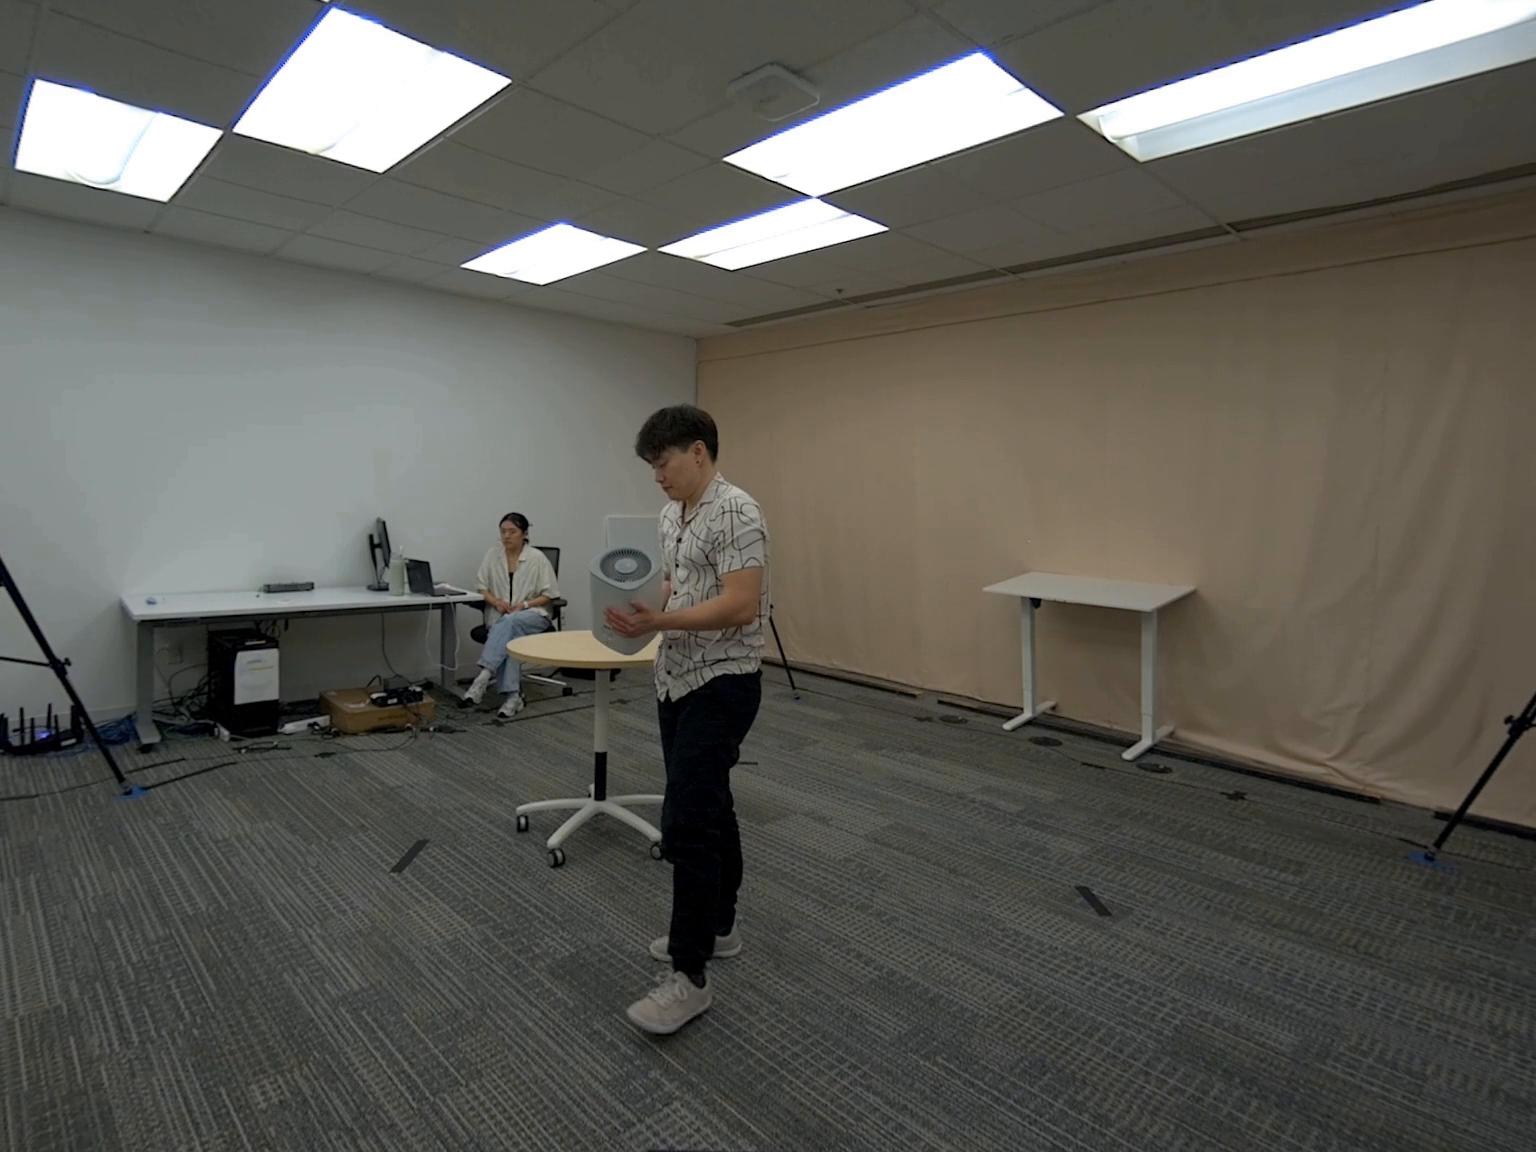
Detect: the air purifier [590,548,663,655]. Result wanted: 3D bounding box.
[{"bbox_3d":[-0.397,0.067,2.362,0.174,0.260,0.171,25,46,18],"label":"air purifier"}]
